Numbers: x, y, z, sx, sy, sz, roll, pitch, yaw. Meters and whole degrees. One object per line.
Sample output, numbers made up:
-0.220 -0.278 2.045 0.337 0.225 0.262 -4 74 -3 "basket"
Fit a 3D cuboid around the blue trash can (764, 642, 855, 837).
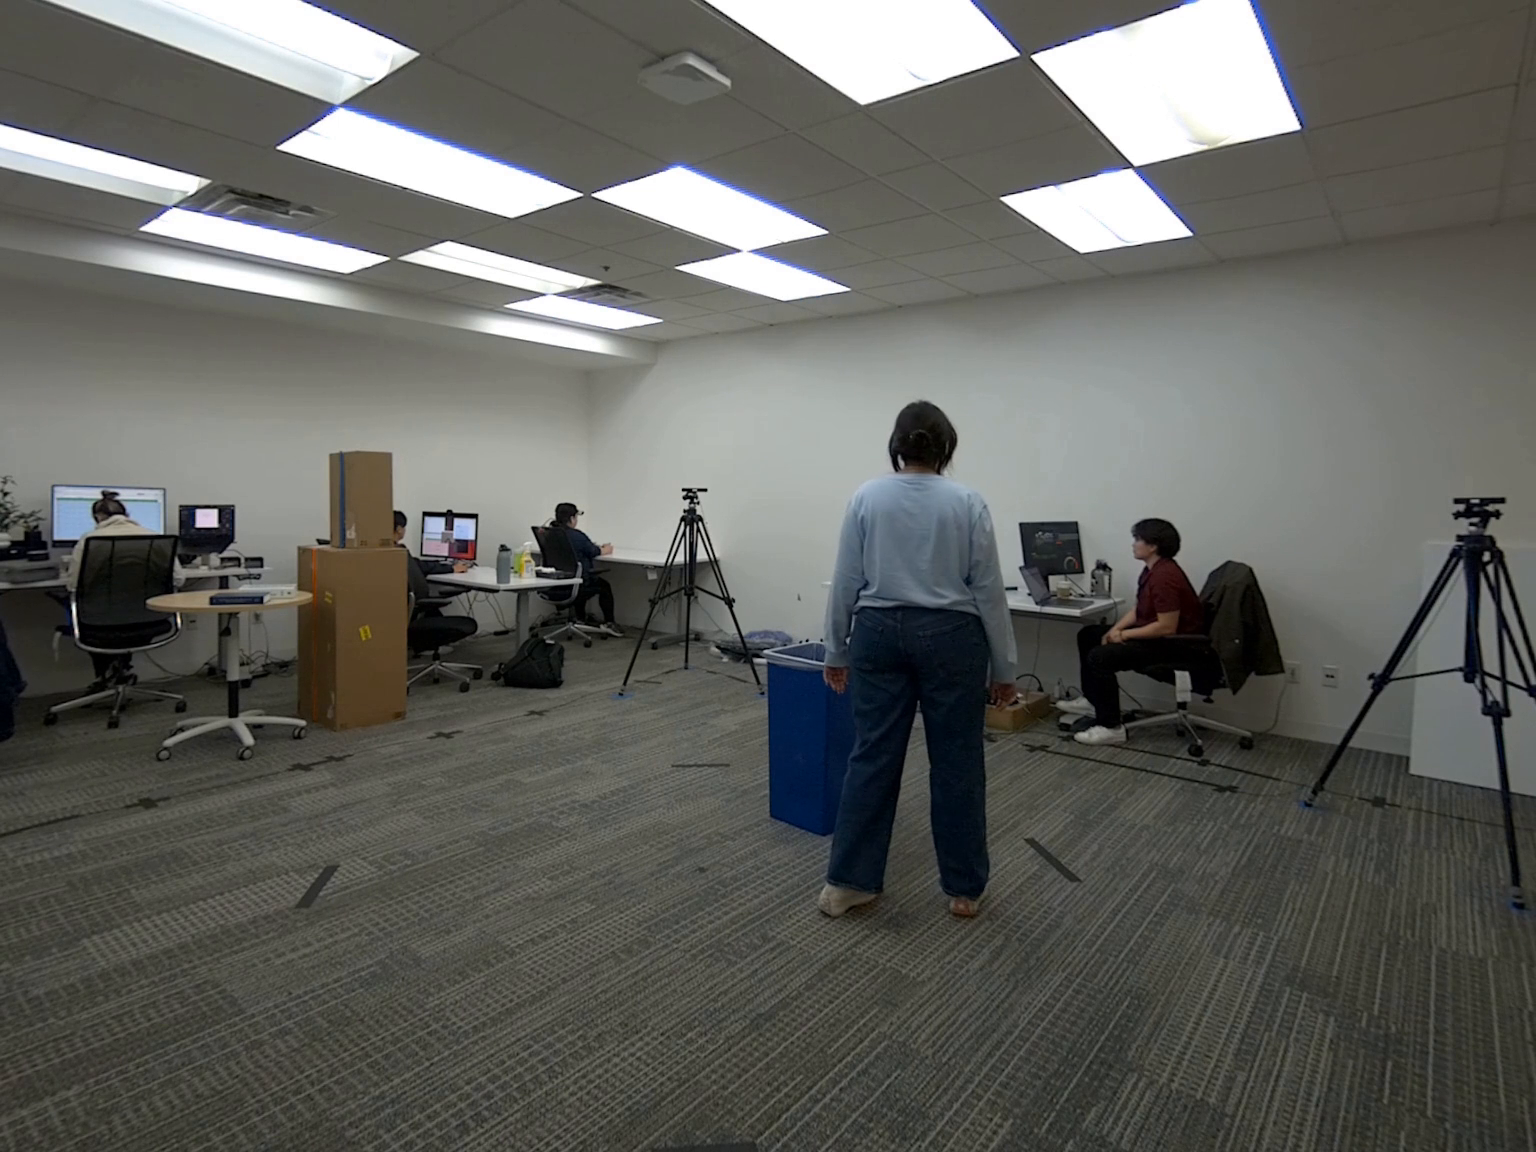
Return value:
0.200 0.671 3.616 0.387 0.711 0.367 5 6 43 "blue trash can"
